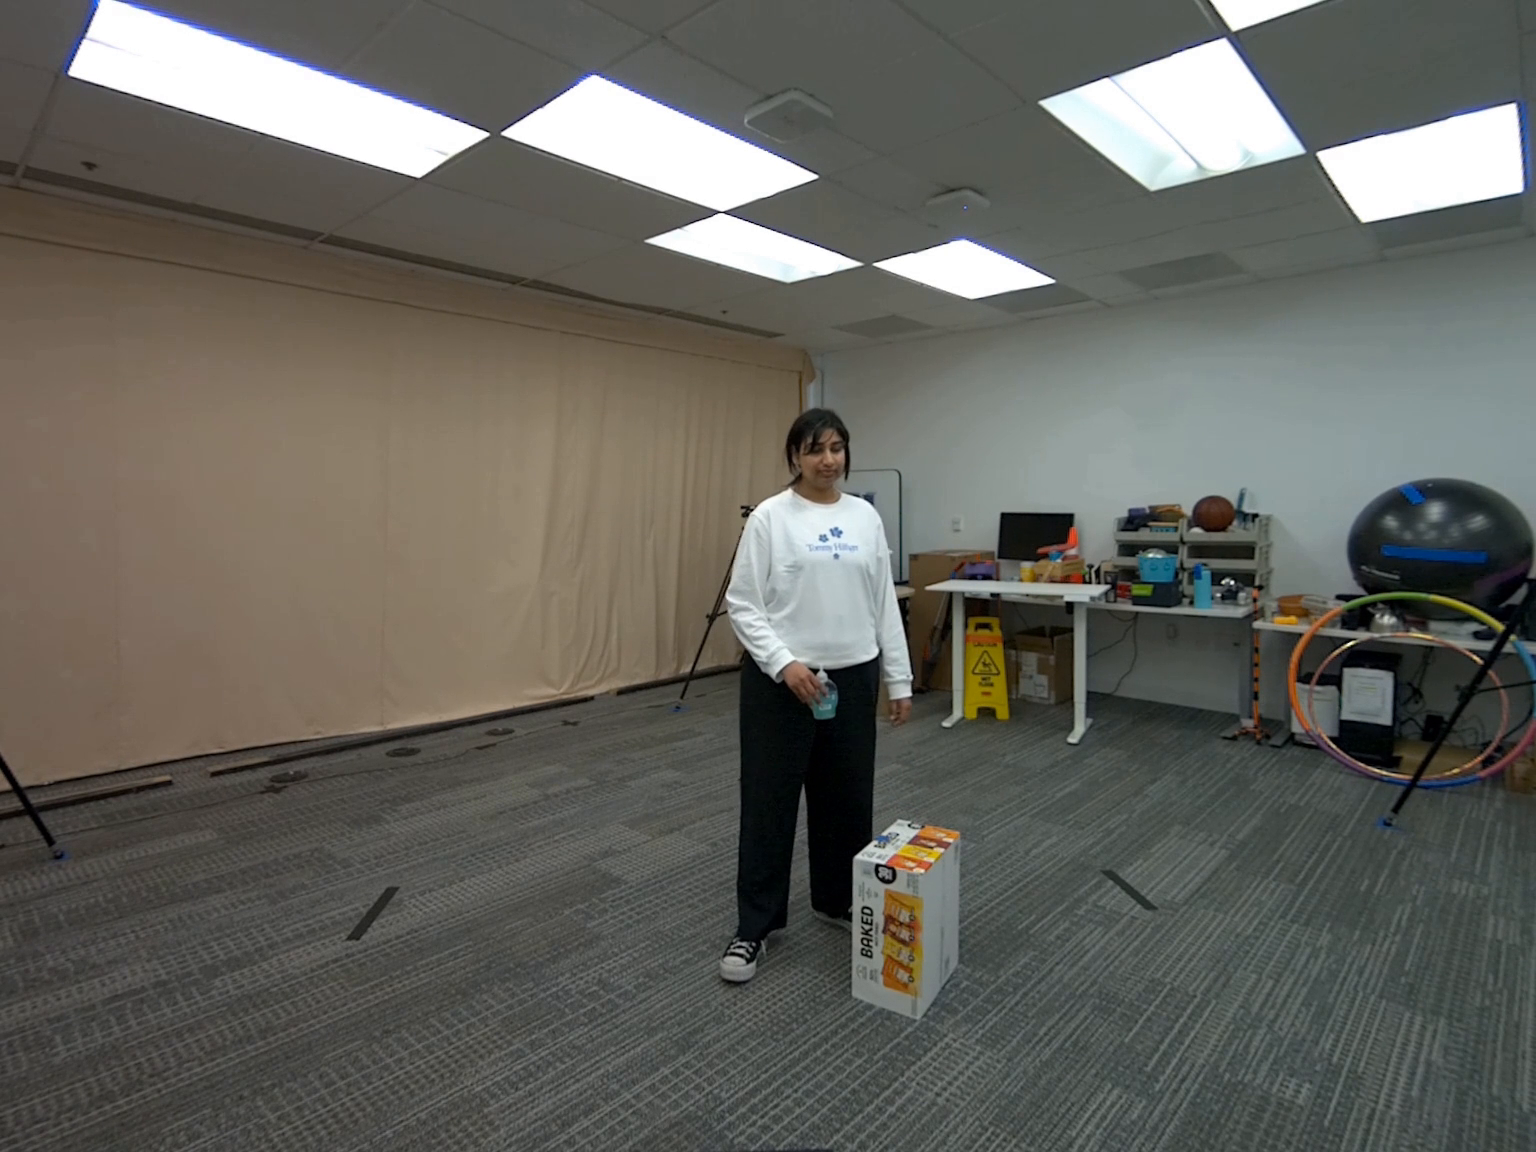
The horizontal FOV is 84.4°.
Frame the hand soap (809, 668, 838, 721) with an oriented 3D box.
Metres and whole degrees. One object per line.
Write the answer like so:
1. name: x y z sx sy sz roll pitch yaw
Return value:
1. hand soap: 0.152 0.329 2.444 0.084 0.168 0.044 -5 4 -10
